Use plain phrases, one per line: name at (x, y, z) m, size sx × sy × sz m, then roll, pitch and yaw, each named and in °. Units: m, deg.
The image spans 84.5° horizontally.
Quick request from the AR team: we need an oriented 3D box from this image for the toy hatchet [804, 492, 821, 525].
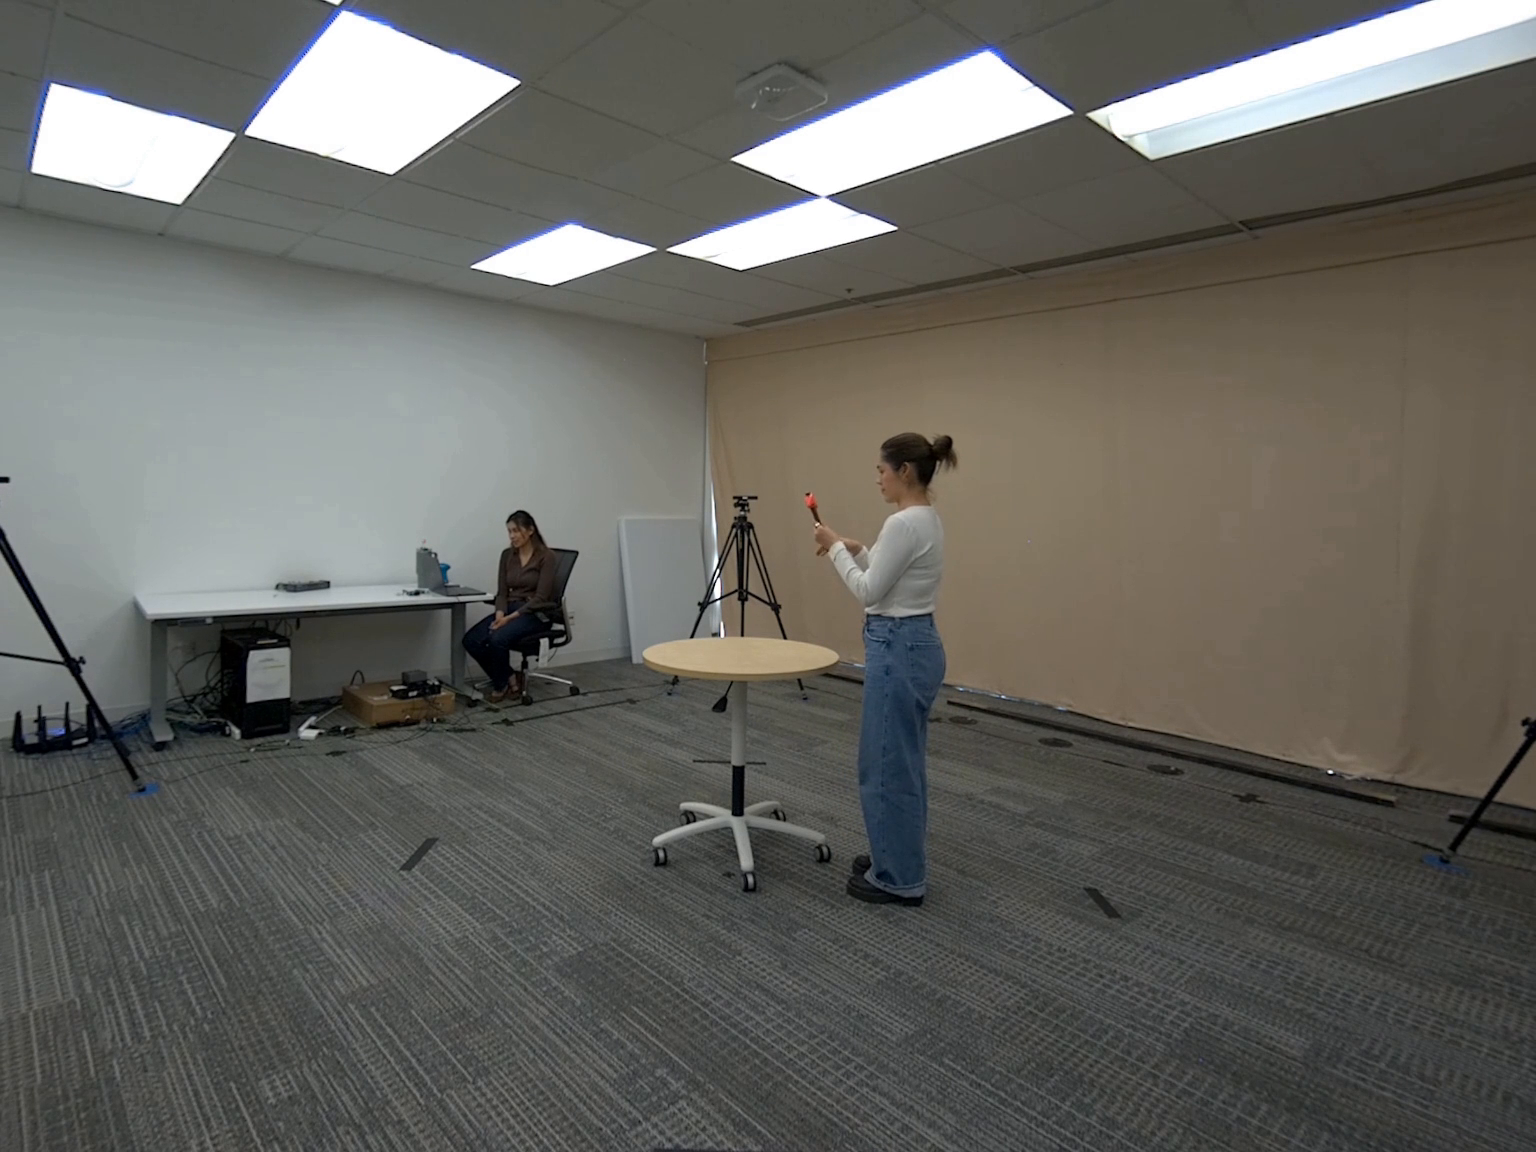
toy hatchet at (0.188, -0.195, 3.033) m, size 0.030 × 0.262 × 0.134 m, roll -19°, pitch 35°, yaw 10°
